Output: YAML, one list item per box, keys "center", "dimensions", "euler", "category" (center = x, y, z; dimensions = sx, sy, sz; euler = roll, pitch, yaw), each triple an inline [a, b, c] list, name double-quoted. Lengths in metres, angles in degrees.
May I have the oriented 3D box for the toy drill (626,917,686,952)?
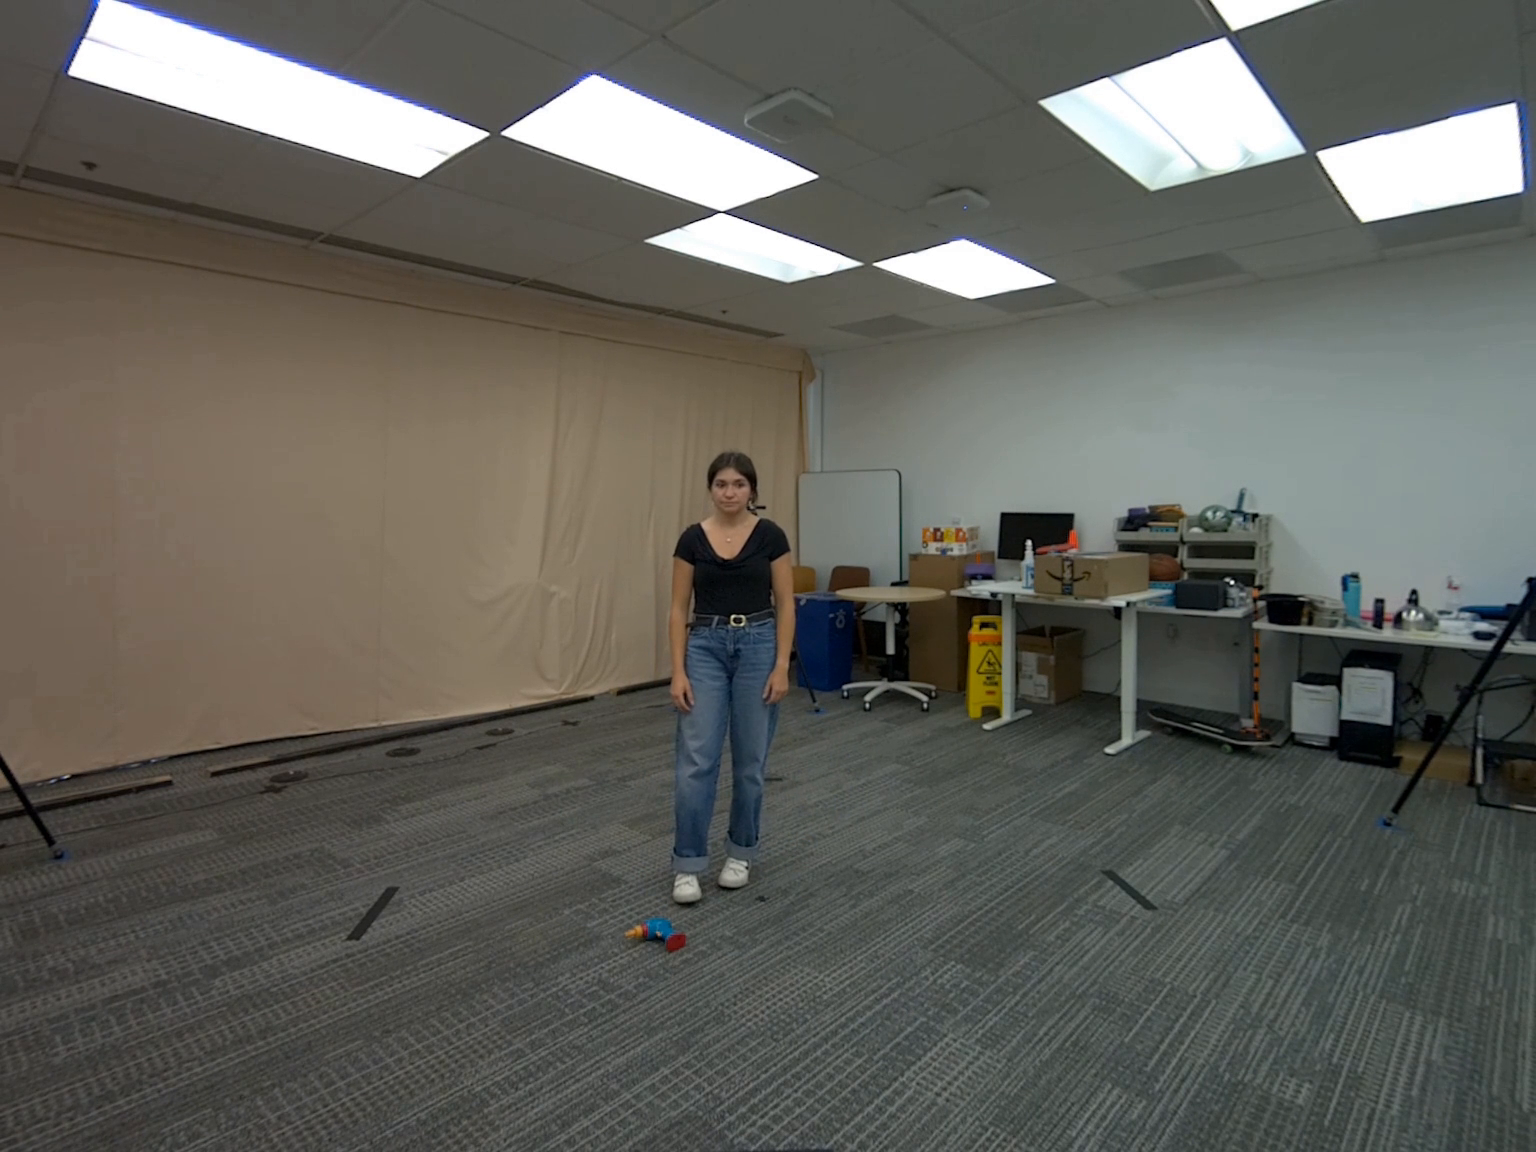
- center: [-0.361, 1.138, 2.677]
  dimensions: [0.164, 0.061, 0.151]
  euler: [4, 2, -35]
  category: "toy drill"
